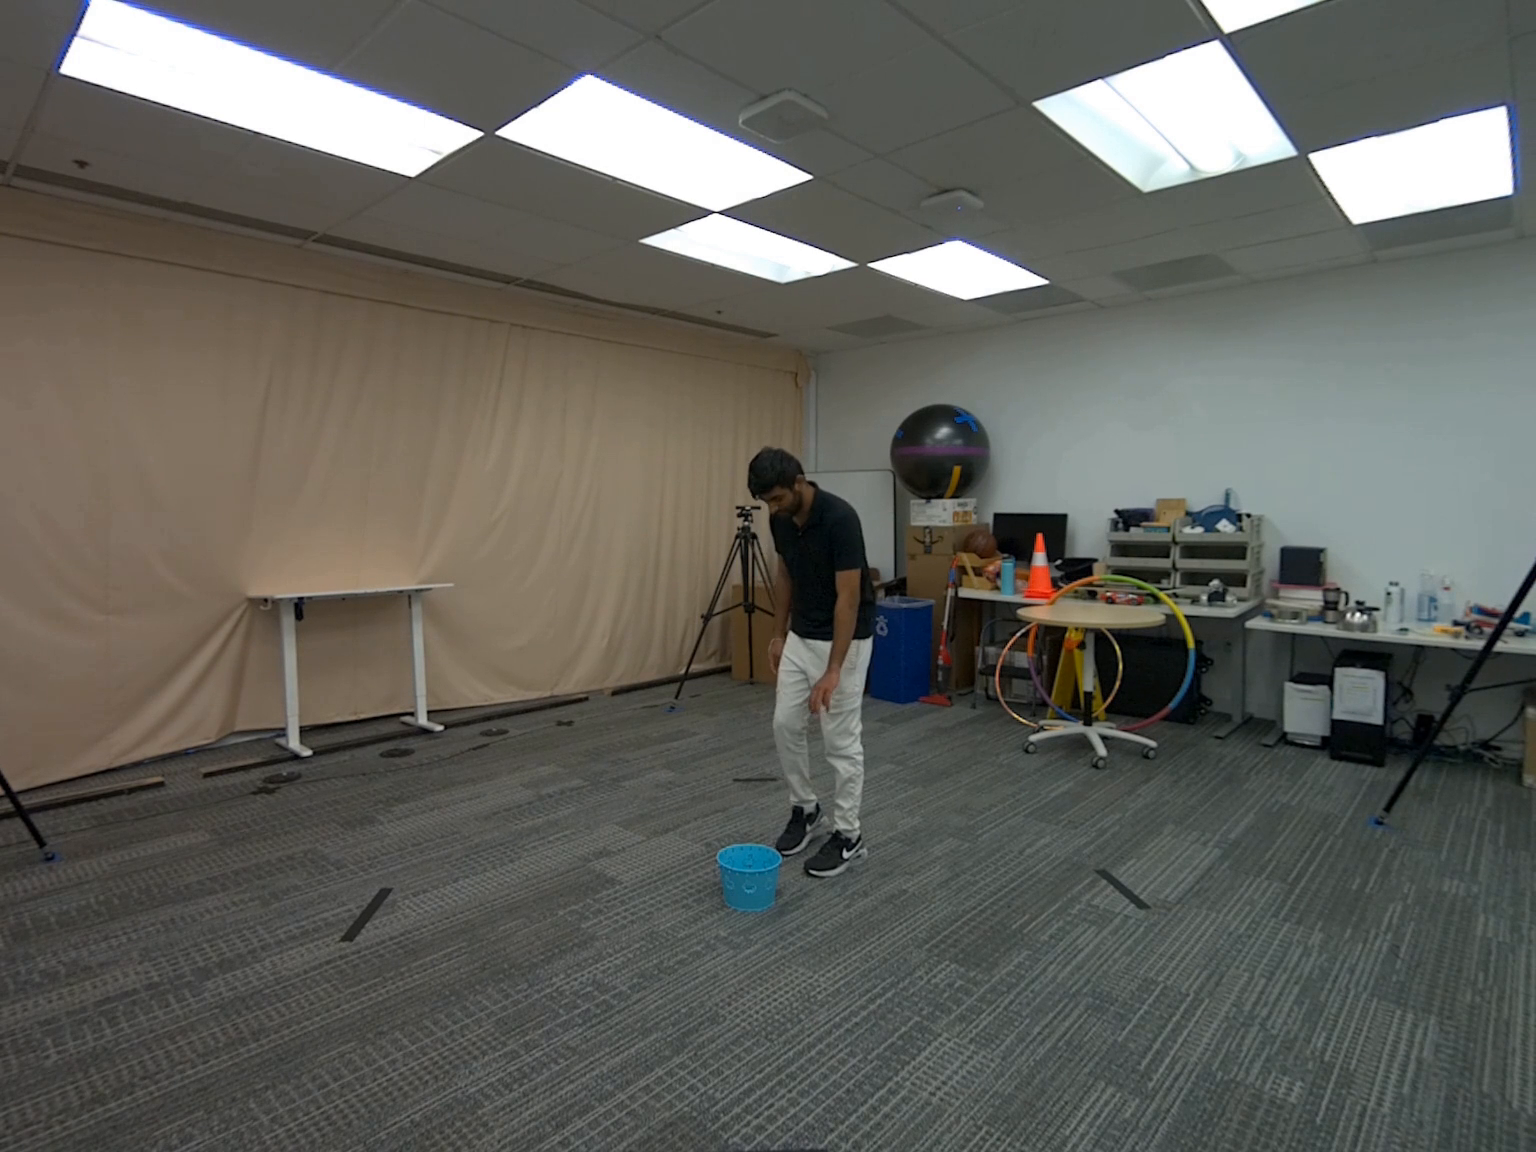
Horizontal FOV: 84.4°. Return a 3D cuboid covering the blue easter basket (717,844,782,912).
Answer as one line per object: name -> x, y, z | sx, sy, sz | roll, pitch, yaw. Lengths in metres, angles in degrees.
blue easter basket -> -0.063, 1.063, 2.982 | 0.243, 0.155, 0.244 | 0, 4, -2
